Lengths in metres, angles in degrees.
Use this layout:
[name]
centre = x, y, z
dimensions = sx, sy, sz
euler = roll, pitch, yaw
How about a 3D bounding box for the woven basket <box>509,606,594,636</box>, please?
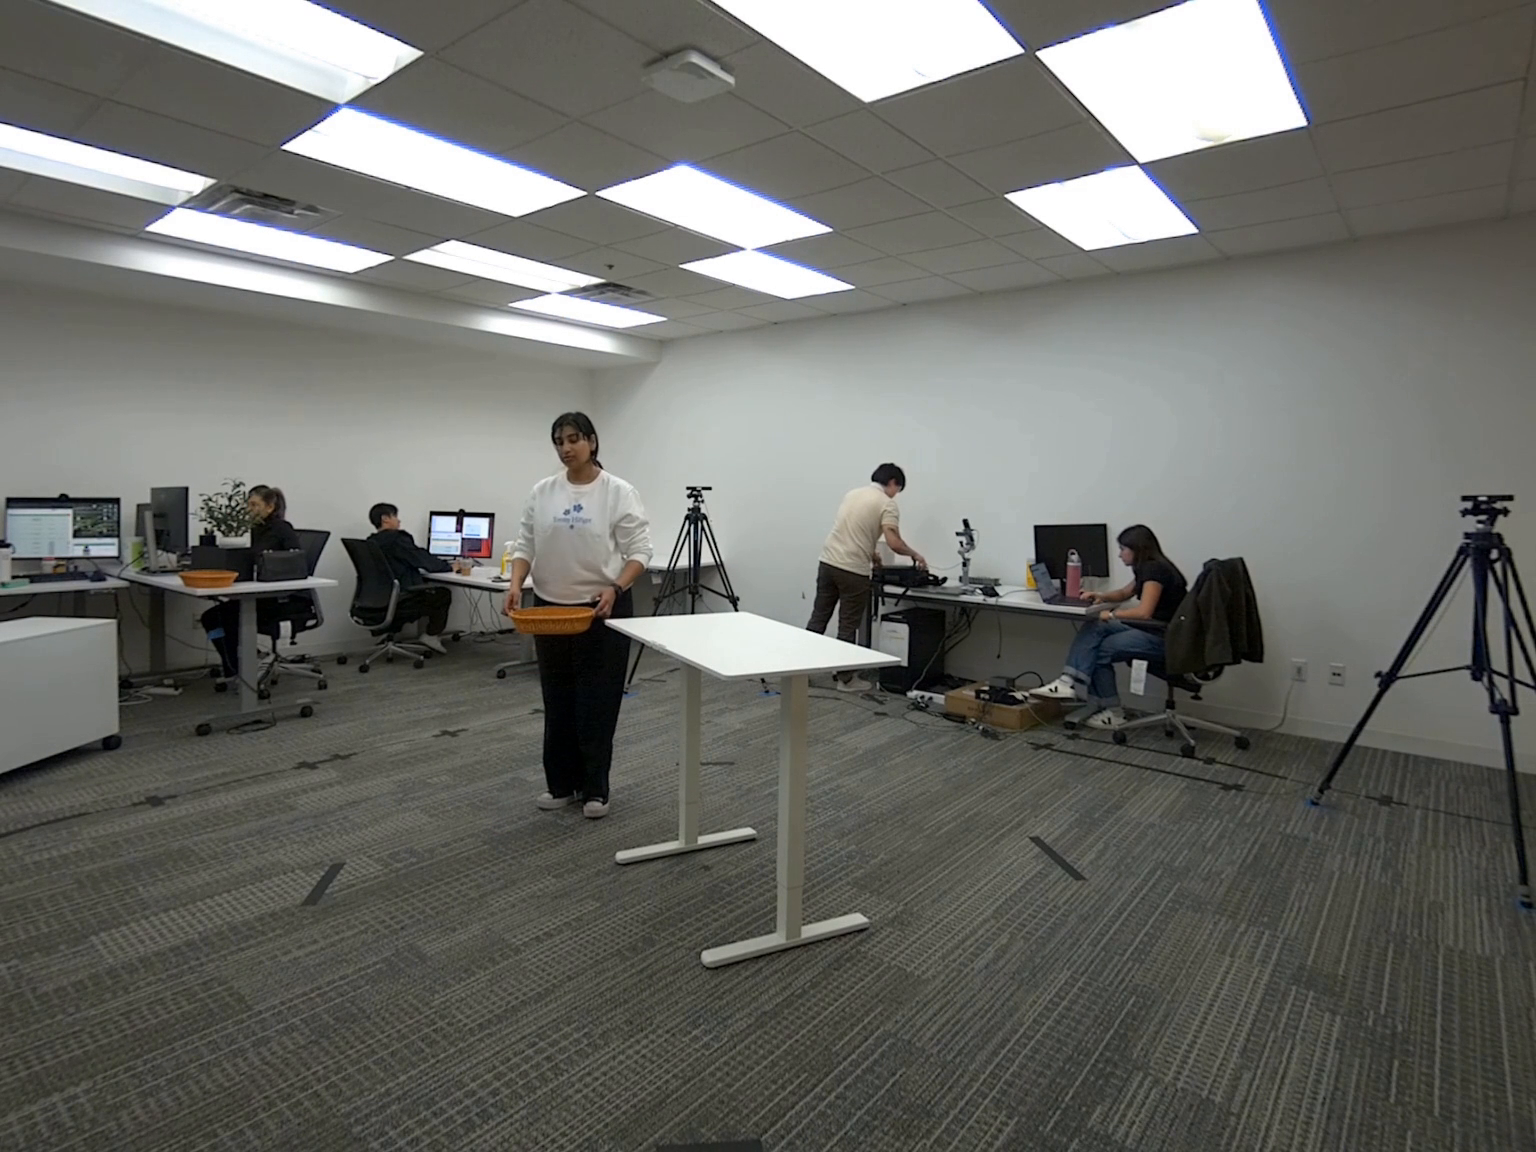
[woven basket]
centre = -0.865, 0.174, 3.376
dimensions = 0.352, 0.073, 0.252
euler = 1, 6, 5
